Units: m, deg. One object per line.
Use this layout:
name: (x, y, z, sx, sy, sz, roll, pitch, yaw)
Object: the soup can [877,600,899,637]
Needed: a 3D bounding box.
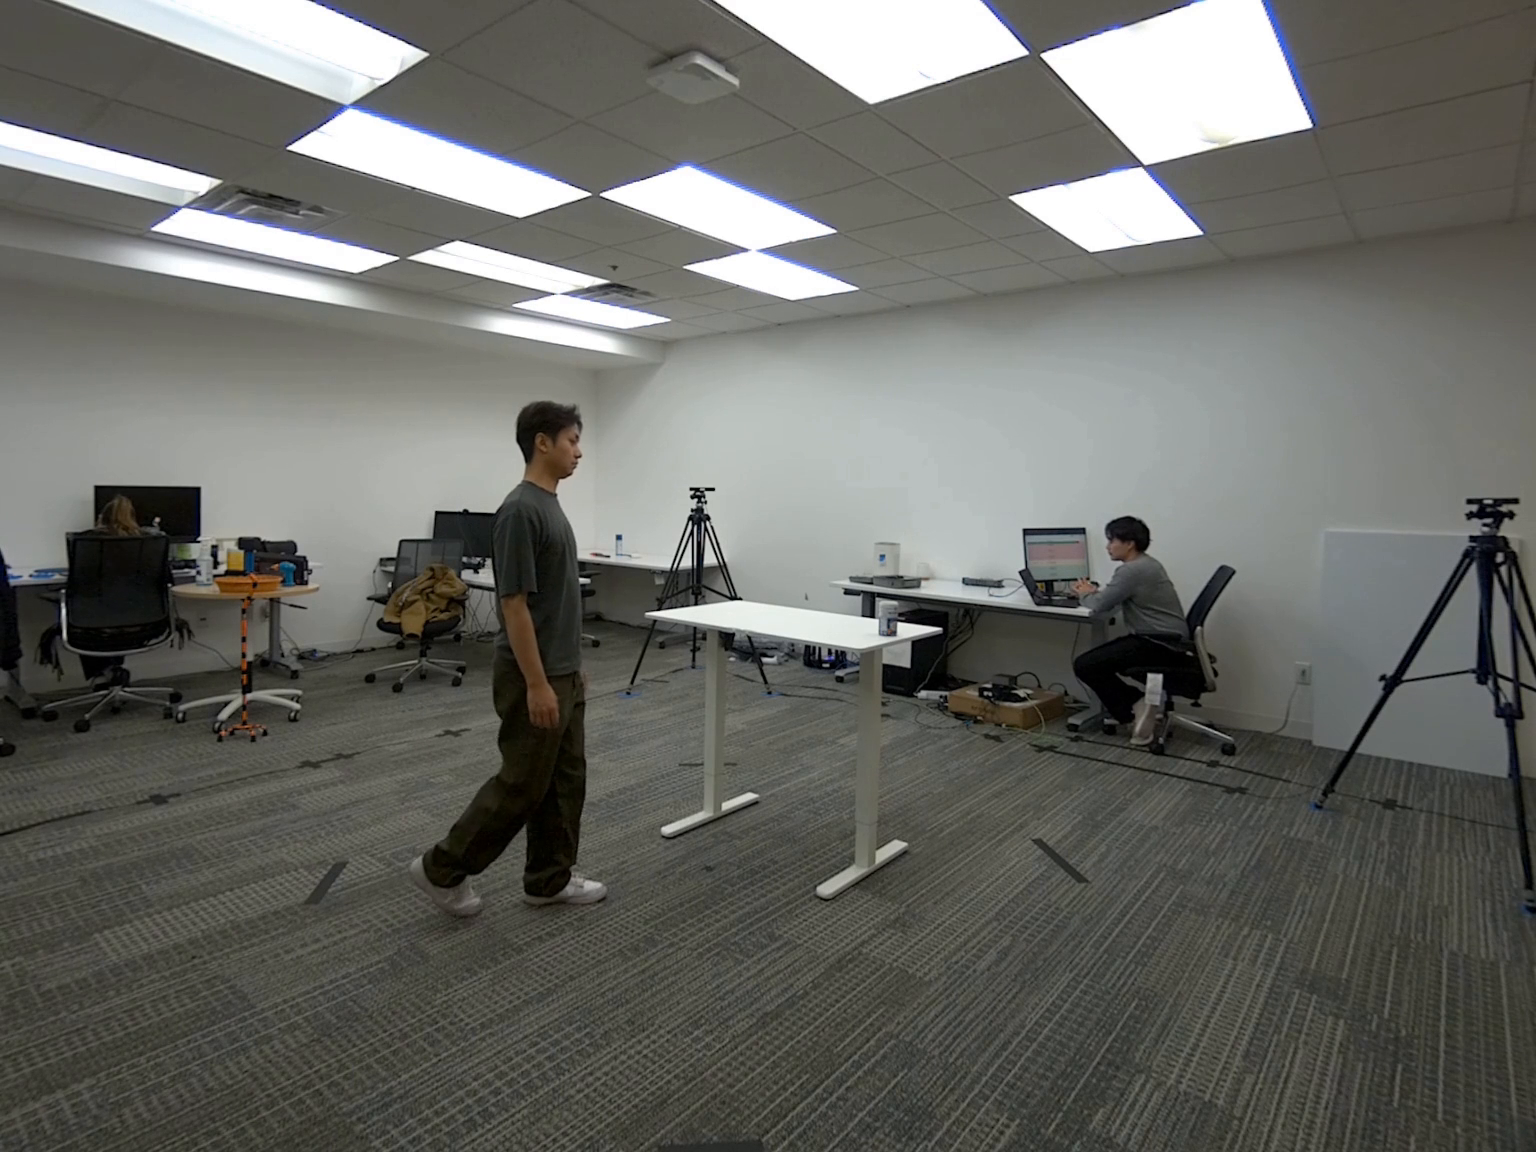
soup can: (0.418, 0.154, 3.025, 0.067, 0.121, 0.068, 1, 8, -2)
